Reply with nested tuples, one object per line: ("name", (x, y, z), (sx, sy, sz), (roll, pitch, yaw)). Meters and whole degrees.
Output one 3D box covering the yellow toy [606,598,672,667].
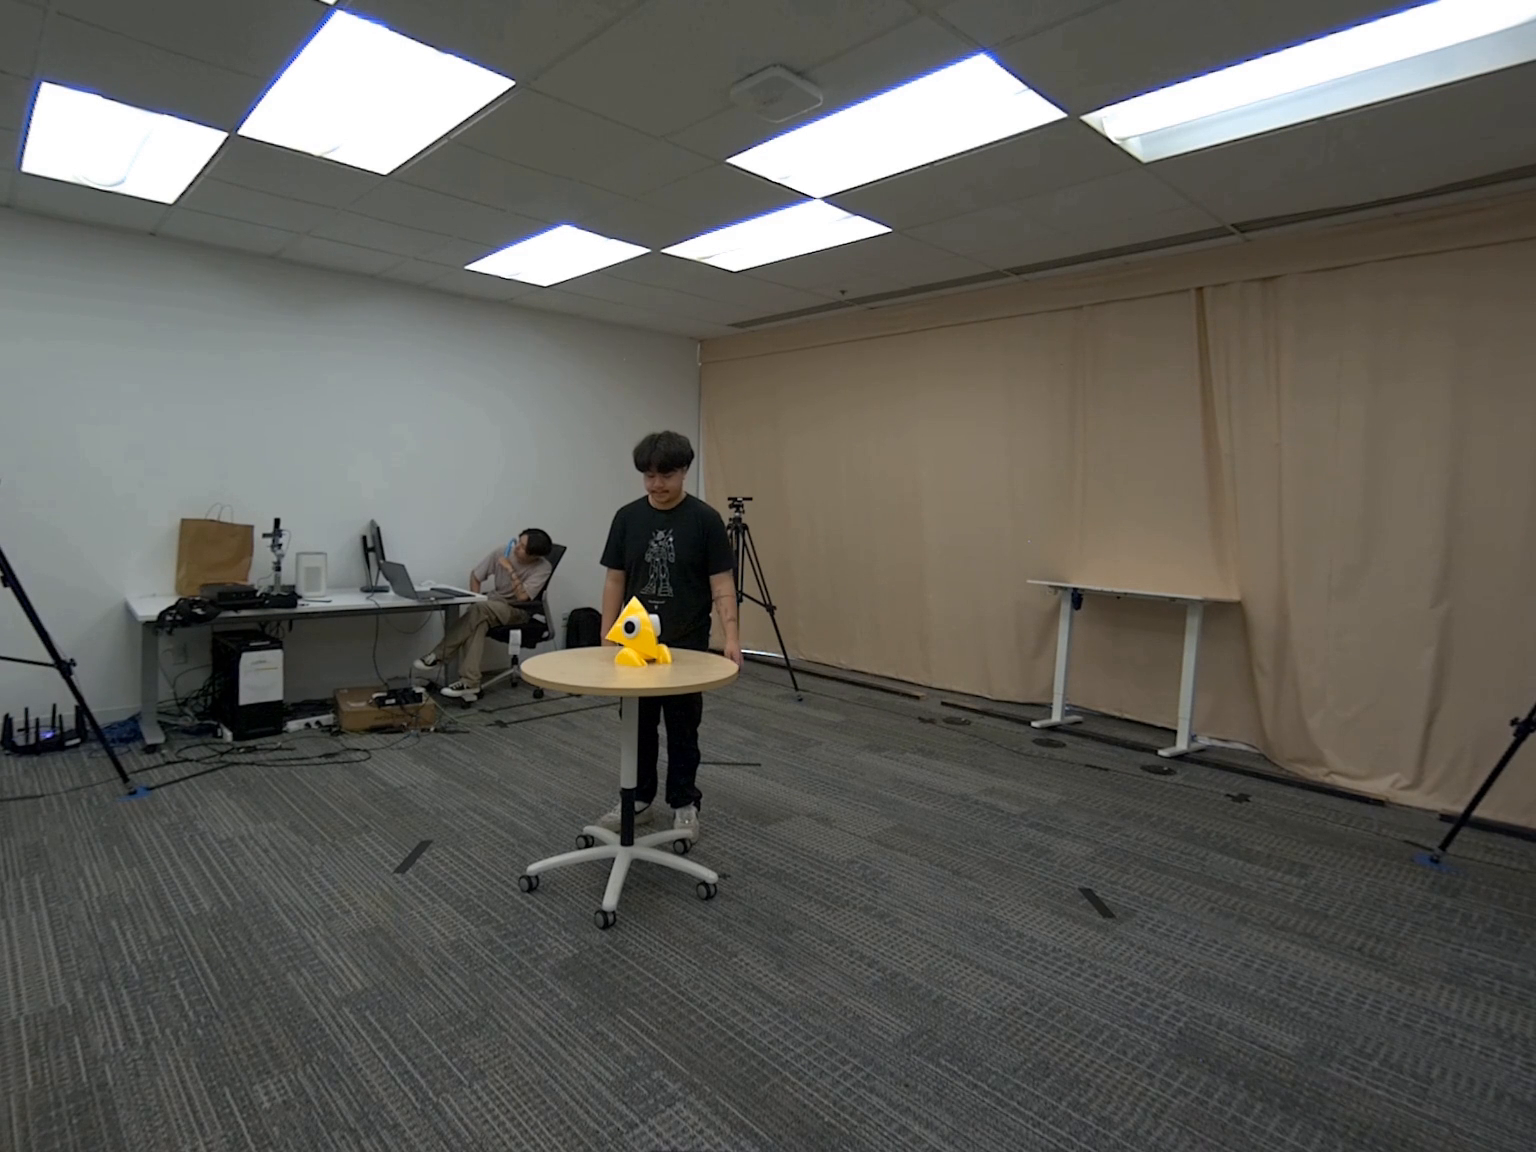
("yellow toy", (-0.472, 0.196, 3.068), (0.200, 0.230, 0.198), (-2, 5, -42))
